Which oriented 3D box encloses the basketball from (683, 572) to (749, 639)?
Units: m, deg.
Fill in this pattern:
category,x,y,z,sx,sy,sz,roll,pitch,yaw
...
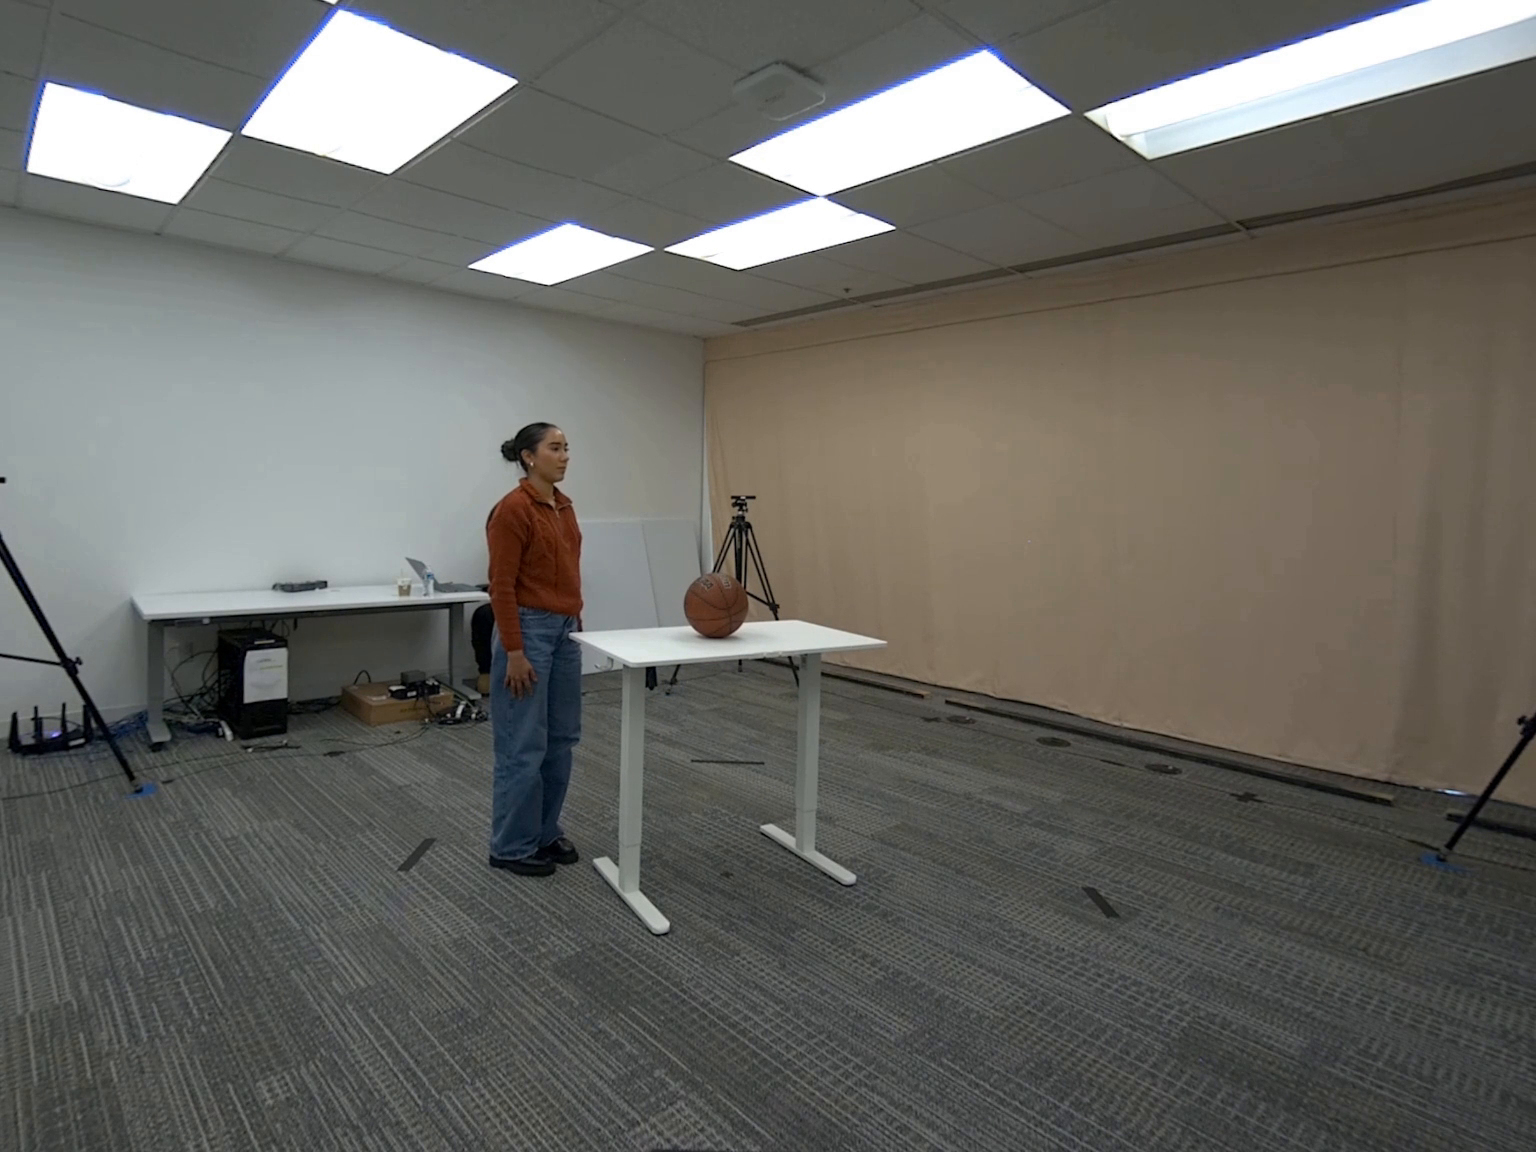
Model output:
category,x,y,z,sx,sy,sz,roll,pitch,yaw
basketball,-0.201,0.106,3.060,0.236,0.235,0.237,1,4,-1
